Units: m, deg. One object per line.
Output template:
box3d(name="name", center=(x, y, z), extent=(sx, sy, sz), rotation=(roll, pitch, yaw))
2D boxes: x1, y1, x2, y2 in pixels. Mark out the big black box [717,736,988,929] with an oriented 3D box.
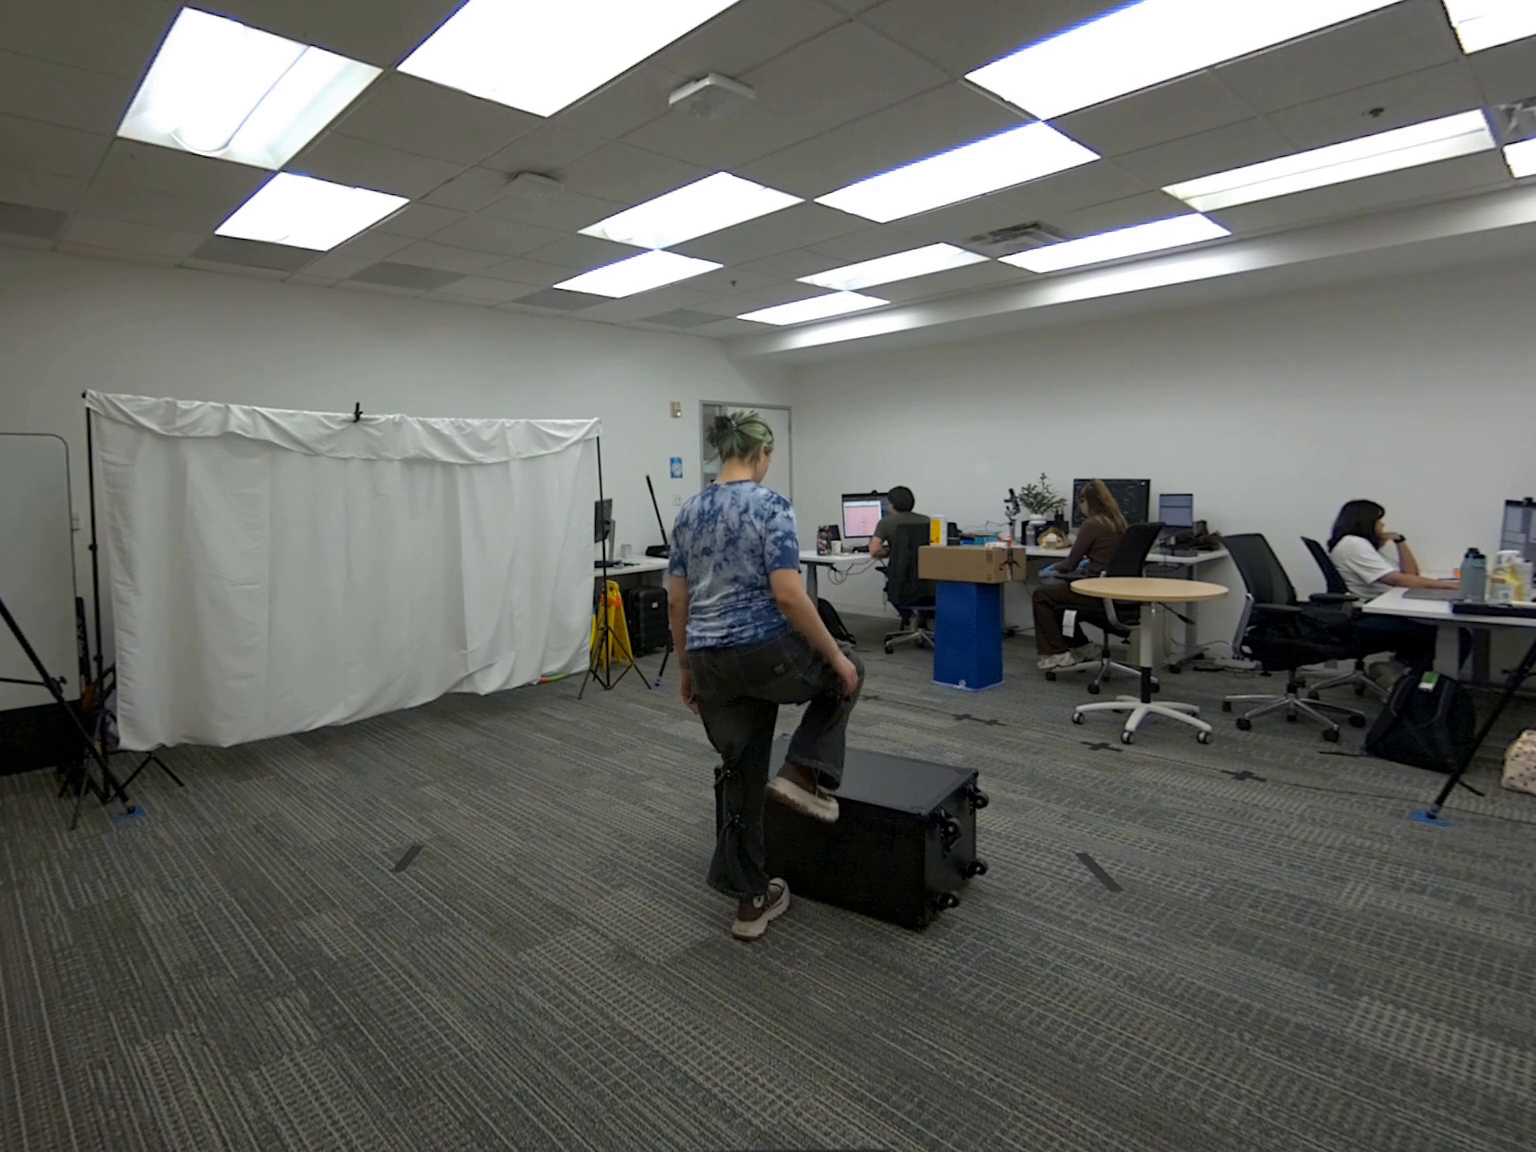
box3d(name="big black box", center=(0.300, 0.864, 2.984), extent=(0.885, 0.395, 0.509), rotation=(2, 6, 34))
